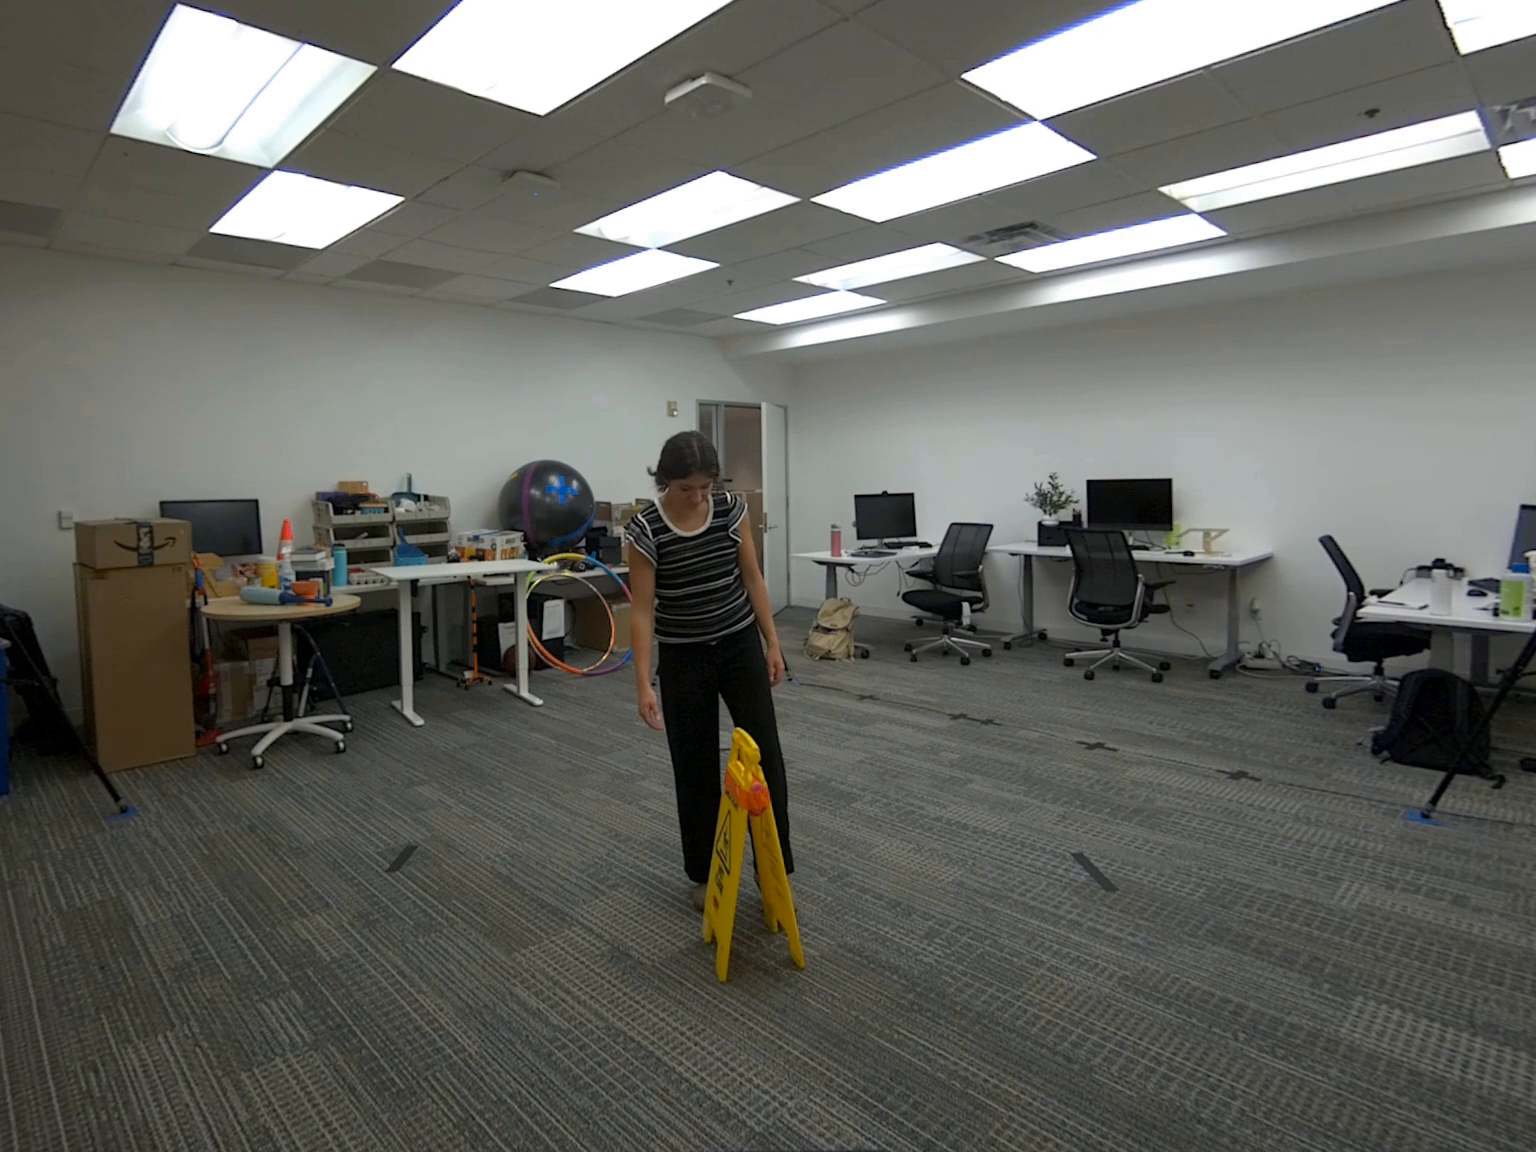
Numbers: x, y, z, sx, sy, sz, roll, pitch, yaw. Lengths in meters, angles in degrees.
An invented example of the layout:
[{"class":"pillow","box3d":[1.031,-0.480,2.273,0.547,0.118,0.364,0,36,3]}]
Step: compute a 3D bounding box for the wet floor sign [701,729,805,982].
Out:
[{"class":"wet floor sign","box3d":[-0.065,0.793,2.506,0.286,0.643,0.287,-3,5,-15]}]
